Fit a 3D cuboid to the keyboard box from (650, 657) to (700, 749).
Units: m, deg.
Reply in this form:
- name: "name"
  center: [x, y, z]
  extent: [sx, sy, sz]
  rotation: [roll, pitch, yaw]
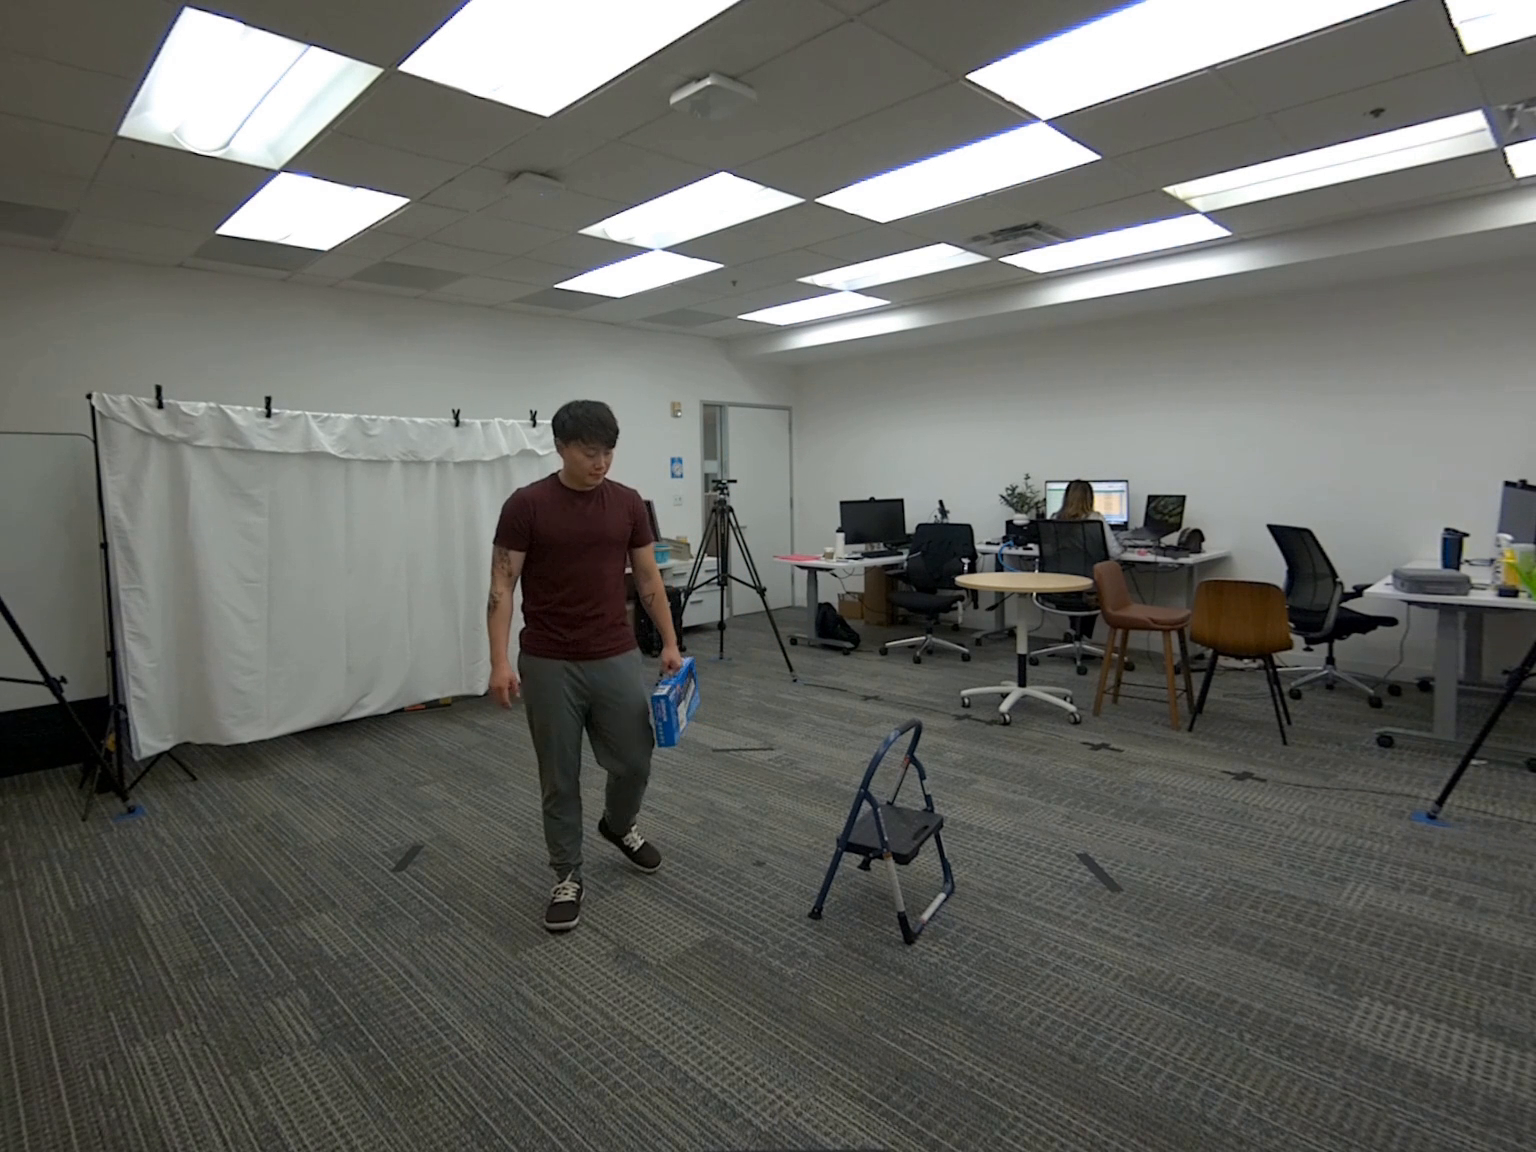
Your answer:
- name: "keyboard box"
  center: [-0.316, 0.421, 2.926]
  extent: [0.059, 0.175, 0.436]
  rotation: [-6, 9, 8]
